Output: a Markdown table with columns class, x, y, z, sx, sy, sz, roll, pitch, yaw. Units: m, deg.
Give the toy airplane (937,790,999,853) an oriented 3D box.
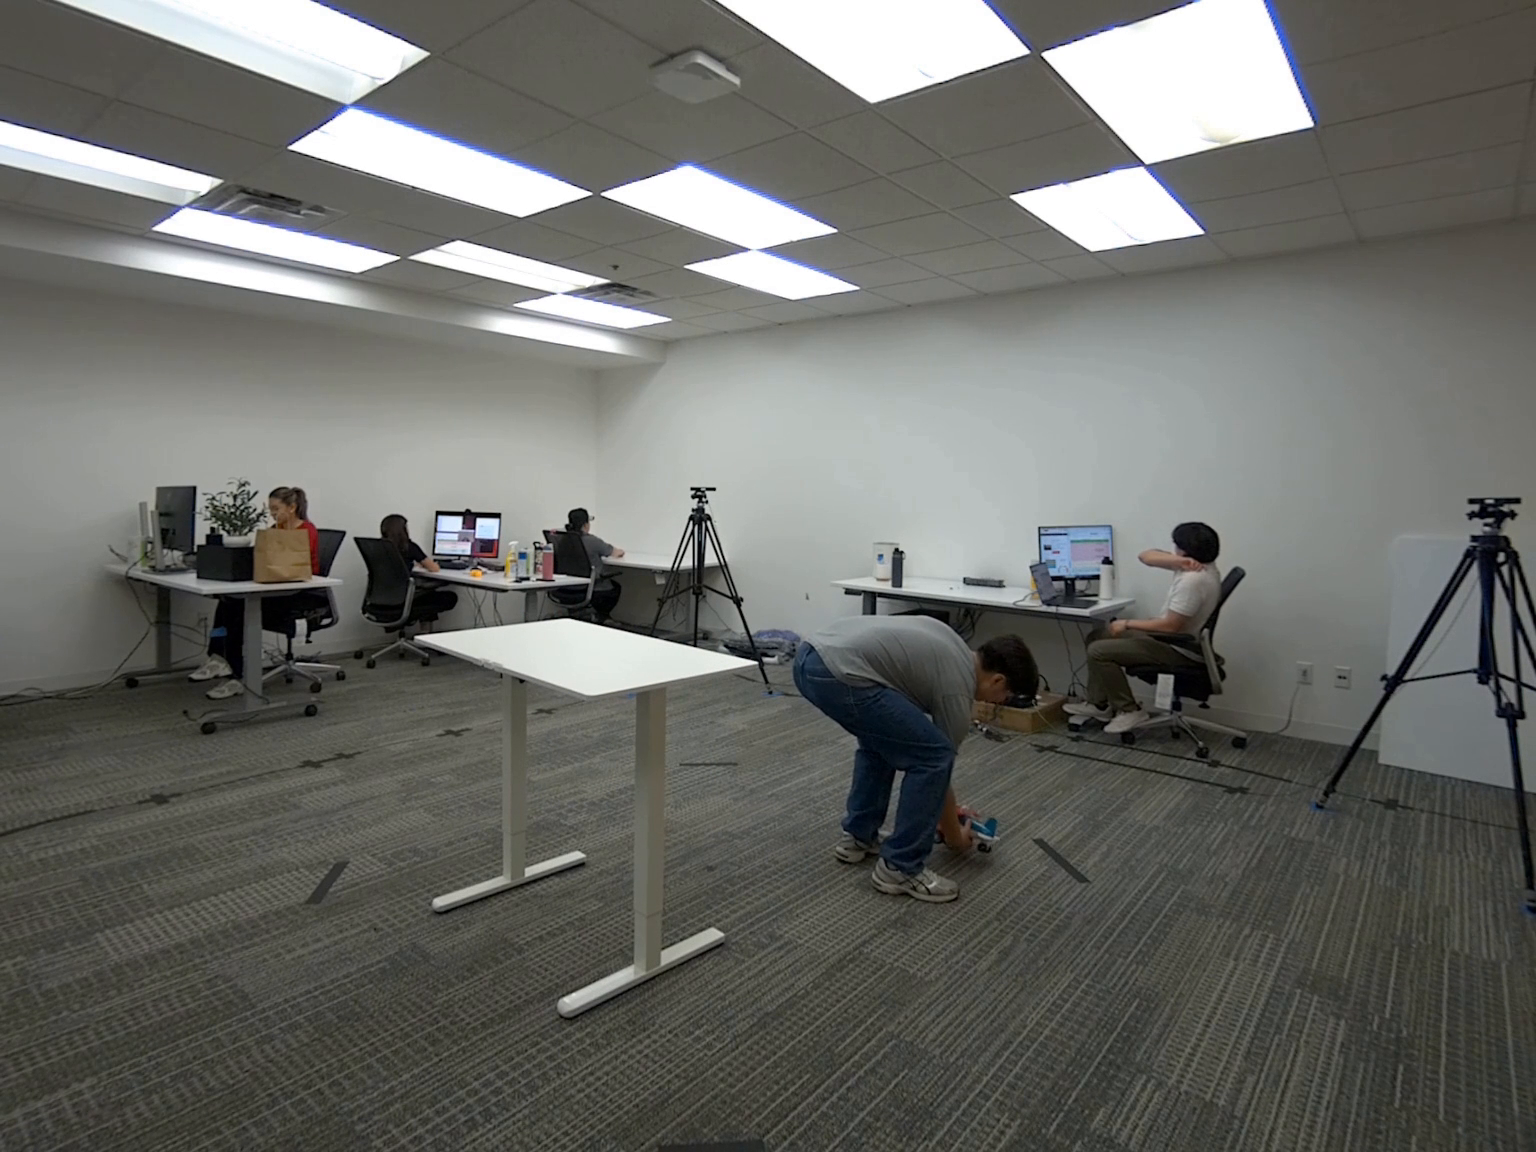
| class | x | y | z | sx | sy | sz | roll | pitch | yaw |
| --- | --- | --- | --- | --- | --- | --- | --- | --- | --- |
| toy airplane | 0.763 | 0.965 | 3.299 | 0.263 | 0.158 | 0.245 | 5 | -12 | 13 |
